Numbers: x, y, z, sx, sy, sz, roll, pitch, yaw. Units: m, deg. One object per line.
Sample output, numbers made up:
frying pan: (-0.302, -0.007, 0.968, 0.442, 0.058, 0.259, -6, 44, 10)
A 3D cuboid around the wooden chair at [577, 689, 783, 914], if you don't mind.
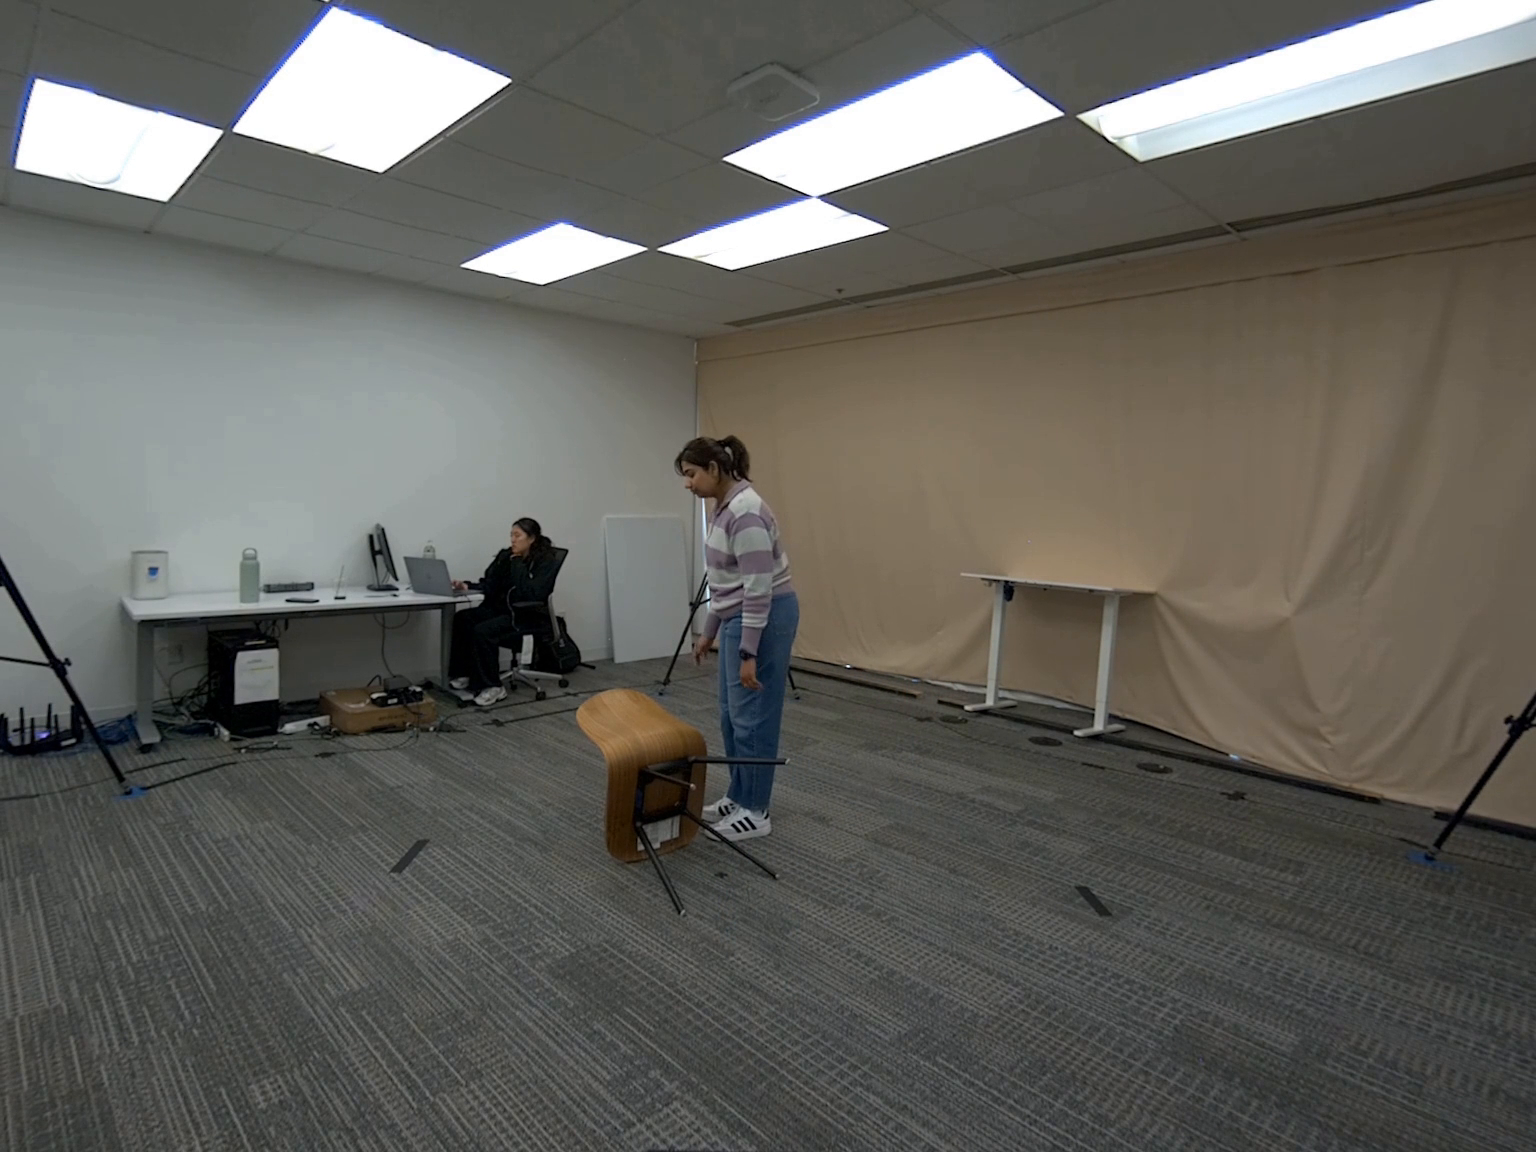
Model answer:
wooden chair: (-0.404, 0.833, 3.226, 0.467, 0.519, 0.903, -3, 15, -42)
